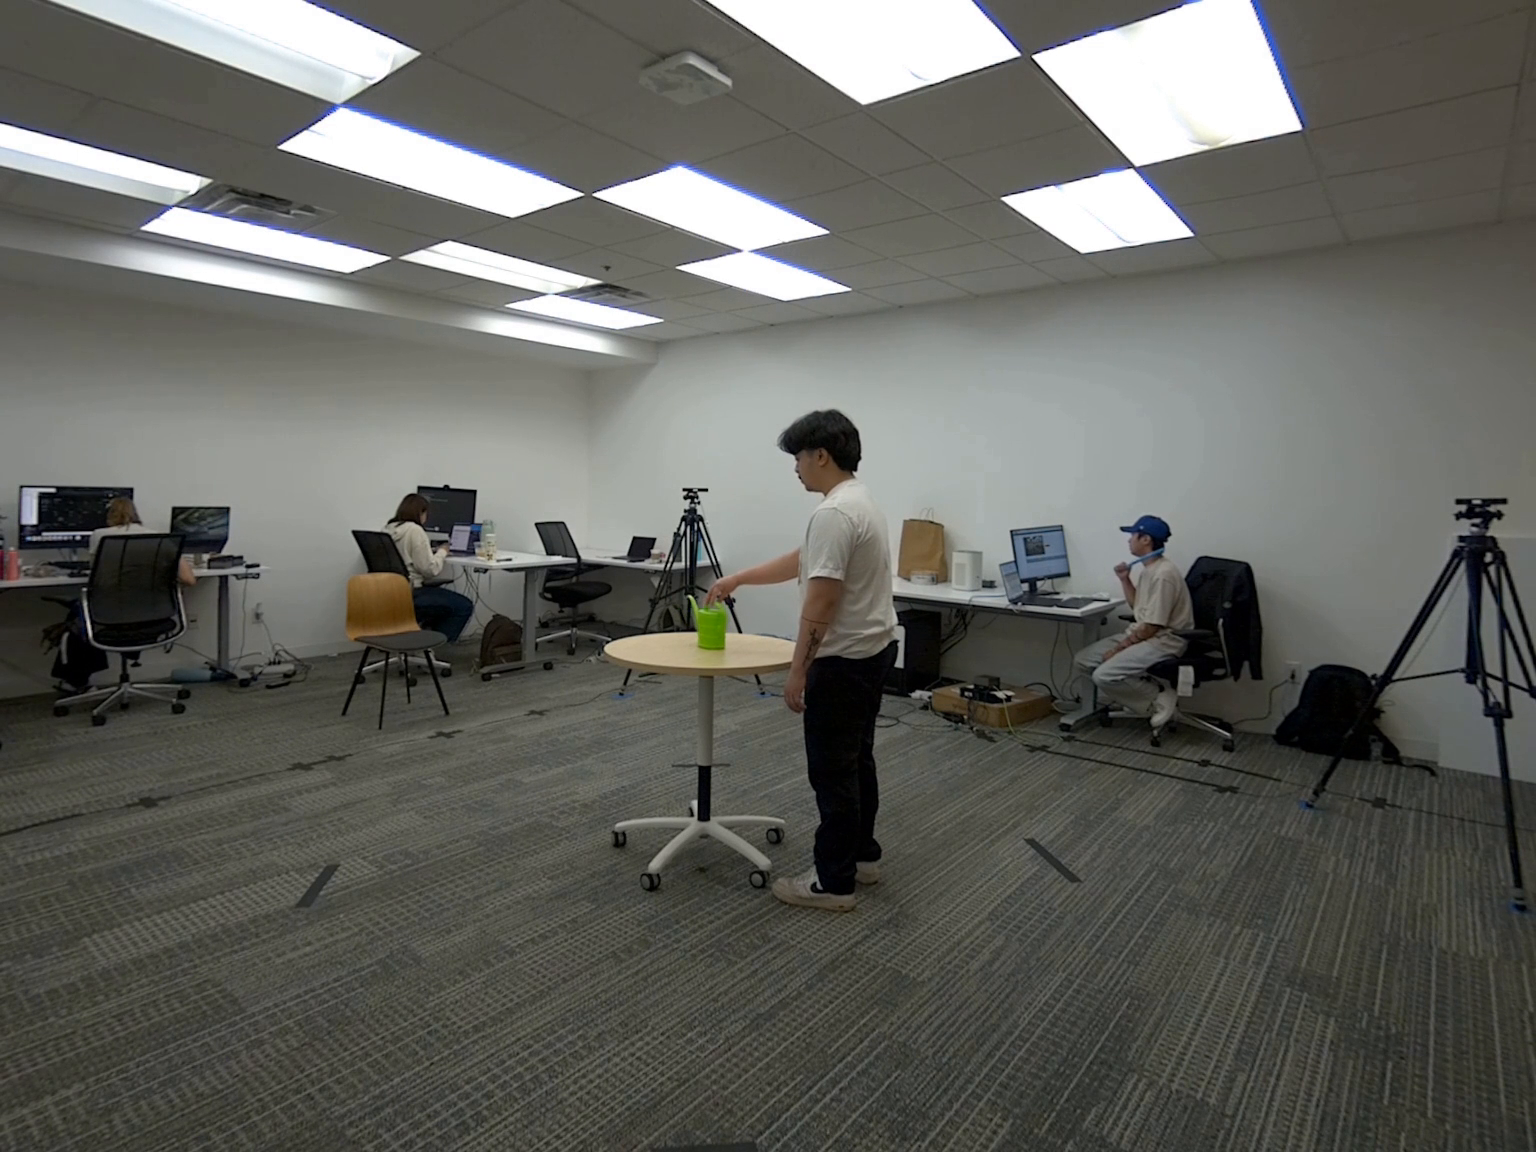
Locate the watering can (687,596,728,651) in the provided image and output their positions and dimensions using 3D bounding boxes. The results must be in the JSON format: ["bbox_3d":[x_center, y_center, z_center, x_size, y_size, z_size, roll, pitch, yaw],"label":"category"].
[{"bbox_3d":[-0.239,0.176,3.259,0.096,0.176,0.284,1,5,-18],"label":"watering can"}]
